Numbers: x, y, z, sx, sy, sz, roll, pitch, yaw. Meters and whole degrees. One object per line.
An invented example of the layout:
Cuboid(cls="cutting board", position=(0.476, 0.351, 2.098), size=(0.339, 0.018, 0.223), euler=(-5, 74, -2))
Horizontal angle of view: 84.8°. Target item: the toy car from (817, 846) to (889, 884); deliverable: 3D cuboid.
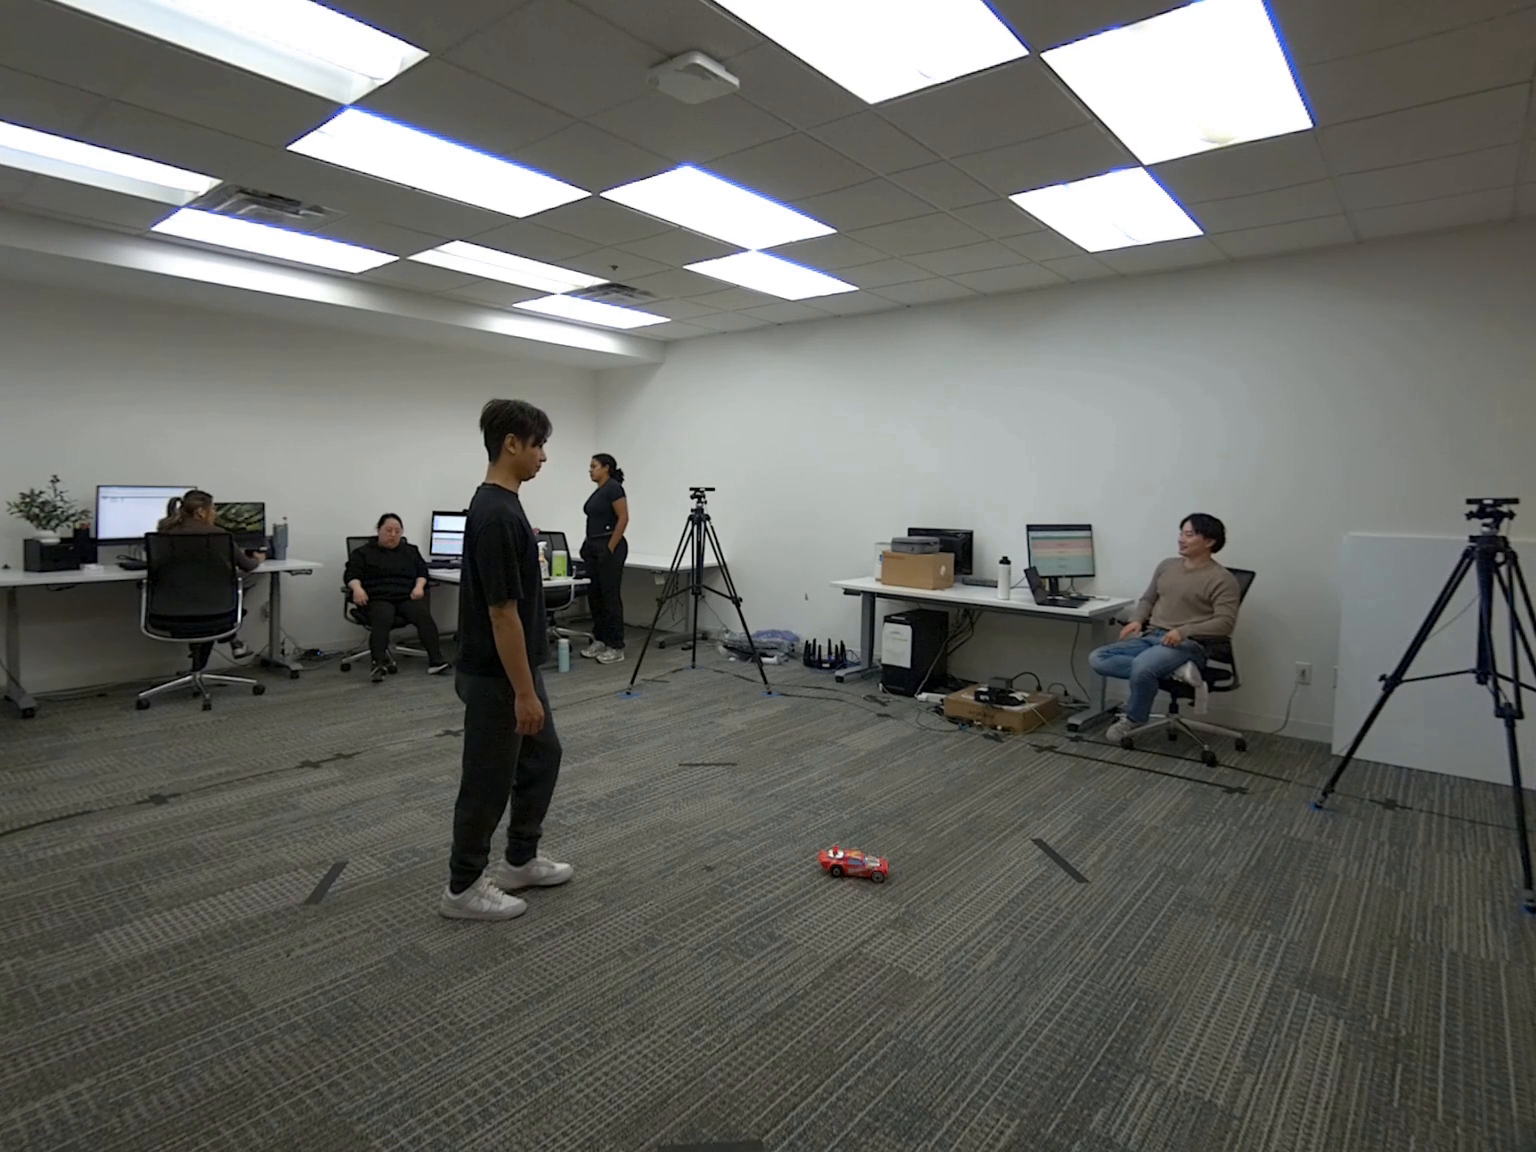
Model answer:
Cuboid(cls="toy car", position=(0.302, 1.049, 3.101), size=(0.258, 0.083, 0.129), euler=(12, 5, 10))
